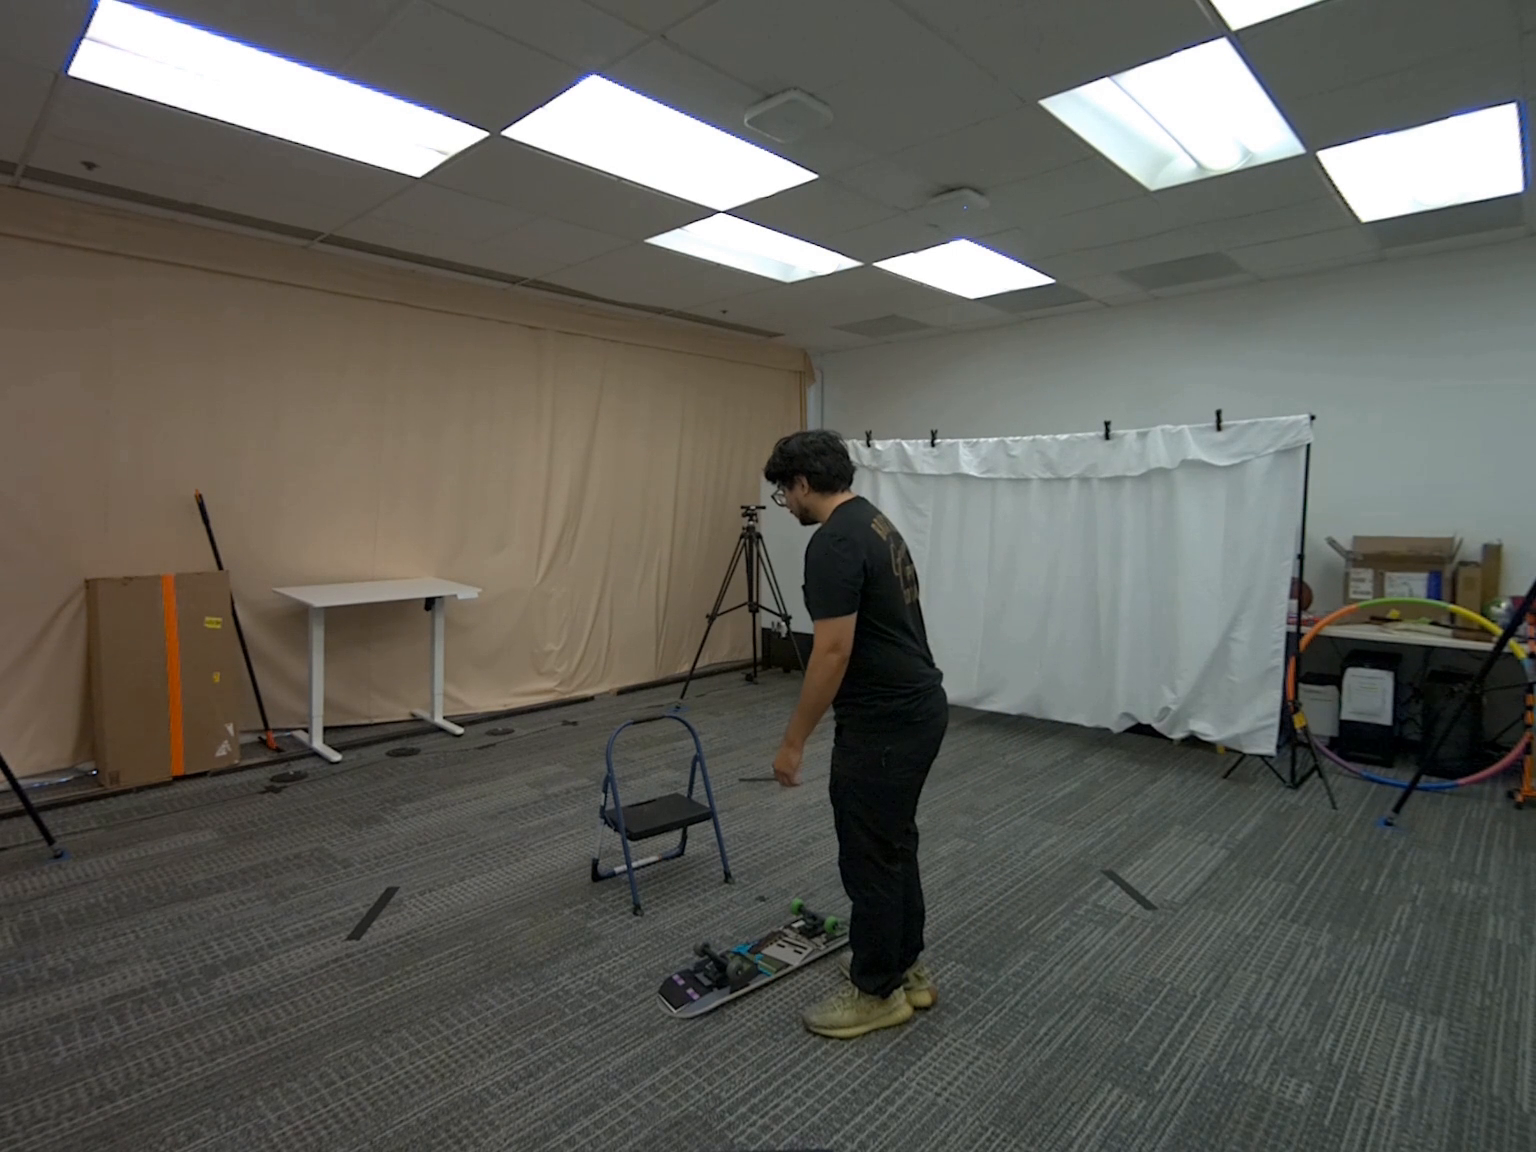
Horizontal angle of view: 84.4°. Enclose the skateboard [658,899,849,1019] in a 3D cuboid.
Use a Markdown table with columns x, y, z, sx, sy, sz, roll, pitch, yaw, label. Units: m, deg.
| x | y | z | sx | sy | sz | roll | pitch | yaw | label |
| --- | --- | --- | --- | --- | --- | --- | --- | --- | --- |
| 0.006 | 1.130 | 2.559 | 0.762 | 0.110 | 0.200 | -4 | 6 | -41 | skateboard |
